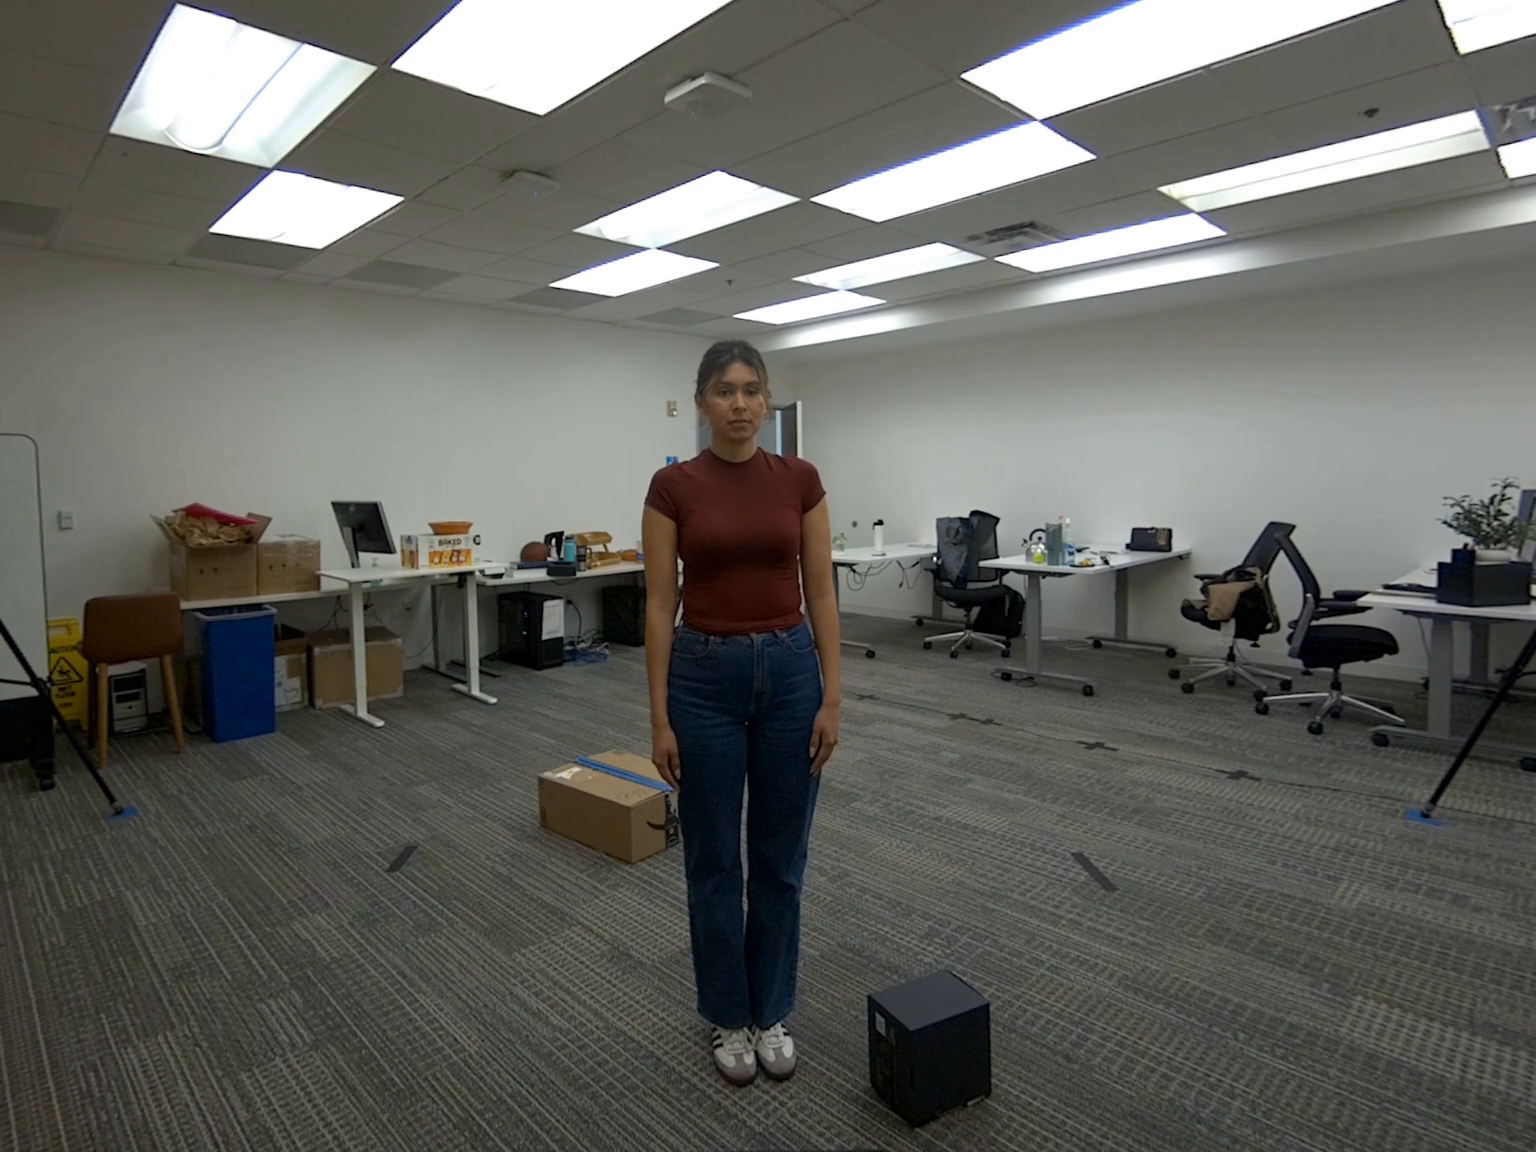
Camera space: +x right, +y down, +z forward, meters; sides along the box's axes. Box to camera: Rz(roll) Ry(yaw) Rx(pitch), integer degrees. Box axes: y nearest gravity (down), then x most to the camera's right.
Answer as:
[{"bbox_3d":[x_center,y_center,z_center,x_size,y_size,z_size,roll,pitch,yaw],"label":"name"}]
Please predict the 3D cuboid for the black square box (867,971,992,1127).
[{"bbox_3d":[0.371,1.054,1.942,0.223,0.216,0.160,-2,3,-27],"label":"black square box"}]
